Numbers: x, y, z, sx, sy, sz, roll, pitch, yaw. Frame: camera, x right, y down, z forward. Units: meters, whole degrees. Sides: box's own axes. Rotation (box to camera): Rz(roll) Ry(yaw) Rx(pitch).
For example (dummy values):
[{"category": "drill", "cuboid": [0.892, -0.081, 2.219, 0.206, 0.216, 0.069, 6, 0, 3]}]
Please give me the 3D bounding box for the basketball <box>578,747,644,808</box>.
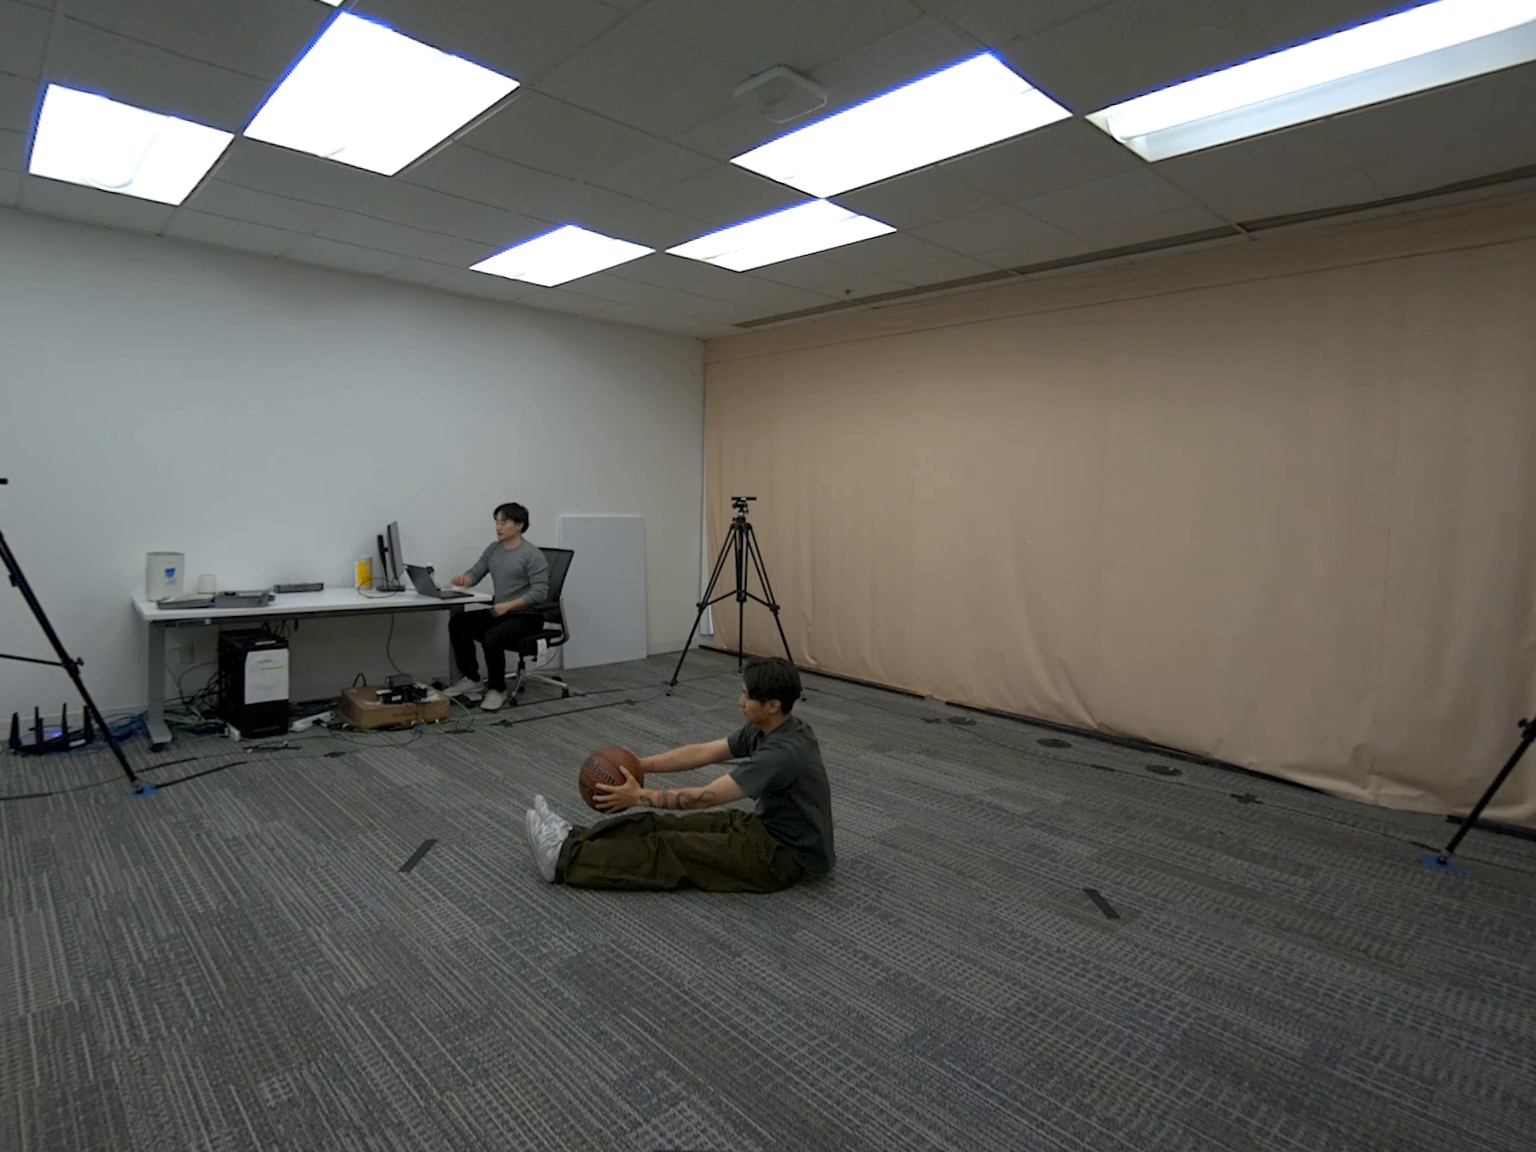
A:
[{"category": "basketball", "cuboid": [-0.575, 0.745, 3.075, 0.236, 0.235, 0.237, 1, 4, -1]}]
